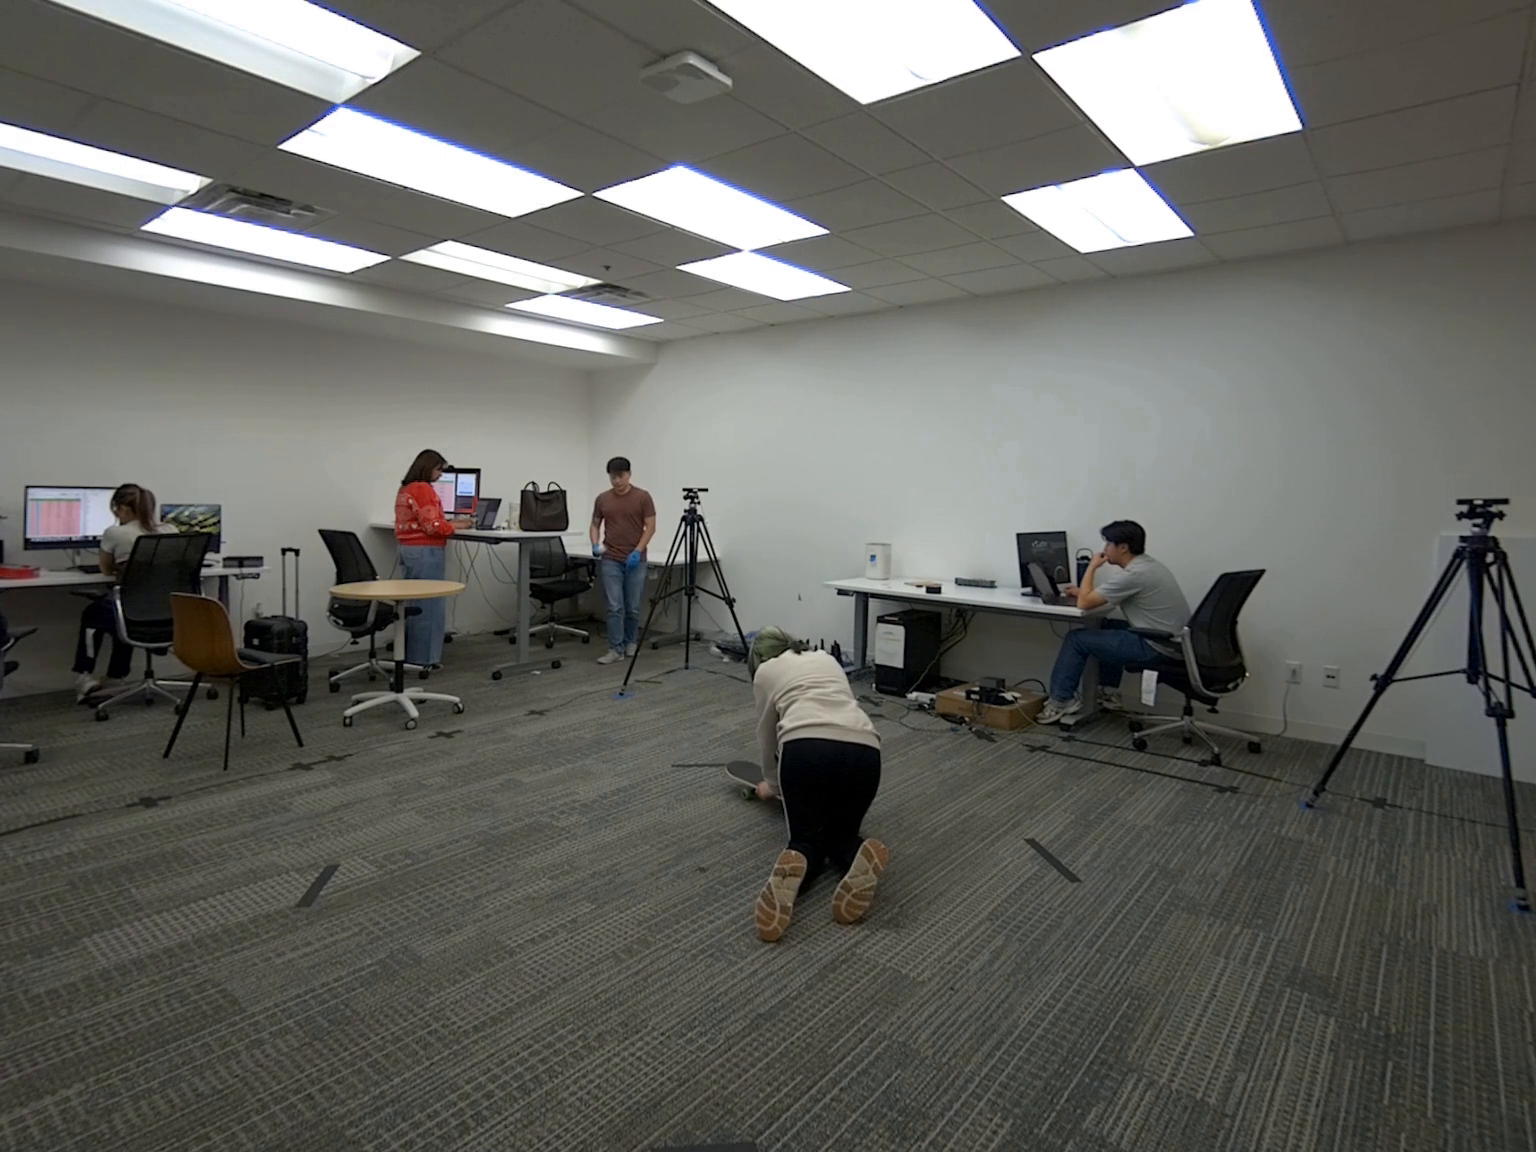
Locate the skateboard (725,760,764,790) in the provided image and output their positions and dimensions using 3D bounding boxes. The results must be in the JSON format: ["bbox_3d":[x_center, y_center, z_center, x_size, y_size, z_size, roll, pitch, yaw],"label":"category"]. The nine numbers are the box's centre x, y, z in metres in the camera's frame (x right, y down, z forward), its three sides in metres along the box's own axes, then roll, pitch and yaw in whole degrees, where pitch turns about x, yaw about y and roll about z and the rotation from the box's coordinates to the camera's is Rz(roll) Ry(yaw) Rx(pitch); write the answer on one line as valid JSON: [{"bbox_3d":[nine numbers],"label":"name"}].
[{"bbox_3d":[0.085,0.952,3.710,0.188,0.110,0.812,-3,7,-40],"label":"skateboard"}]
